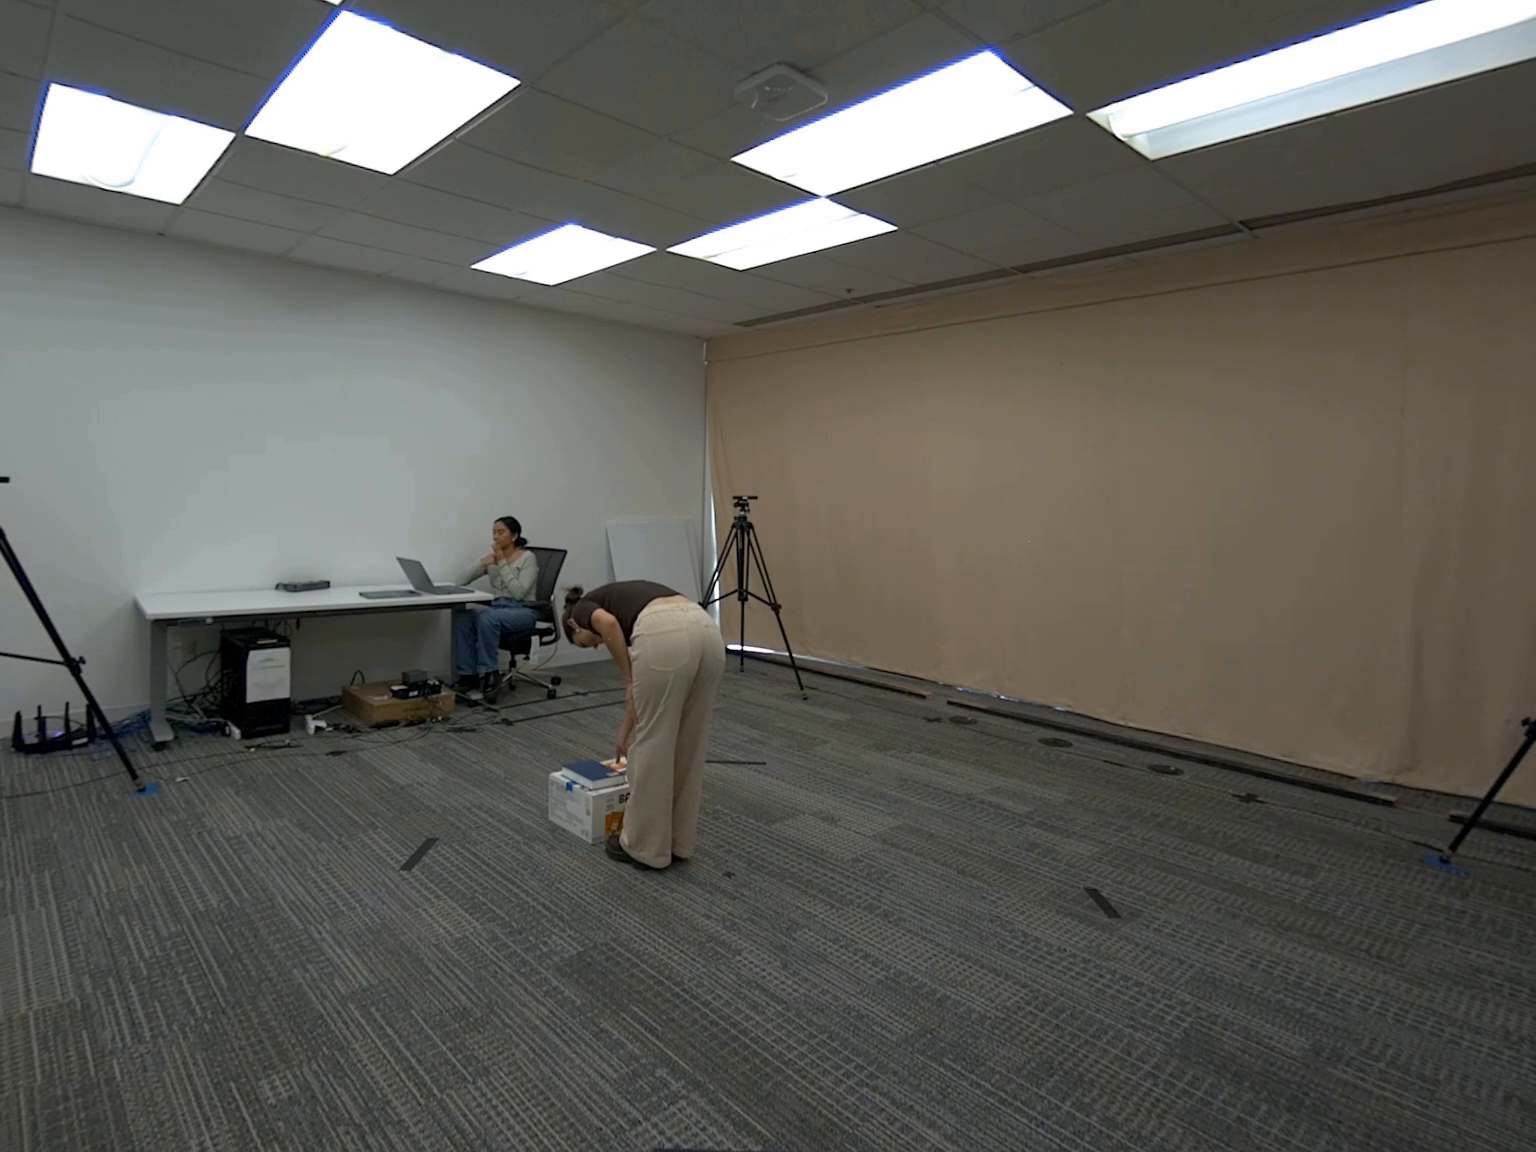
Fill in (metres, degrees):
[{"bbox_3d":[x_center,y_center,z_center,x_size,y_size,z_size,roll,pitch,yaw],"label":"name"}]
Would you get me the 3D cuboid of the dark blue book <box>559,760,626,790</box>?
[{"bbox_3d":[-0.741,0.831,3.520,0.159,0.045,0.251,0,5,-43],"label":"dark blue book"}]
